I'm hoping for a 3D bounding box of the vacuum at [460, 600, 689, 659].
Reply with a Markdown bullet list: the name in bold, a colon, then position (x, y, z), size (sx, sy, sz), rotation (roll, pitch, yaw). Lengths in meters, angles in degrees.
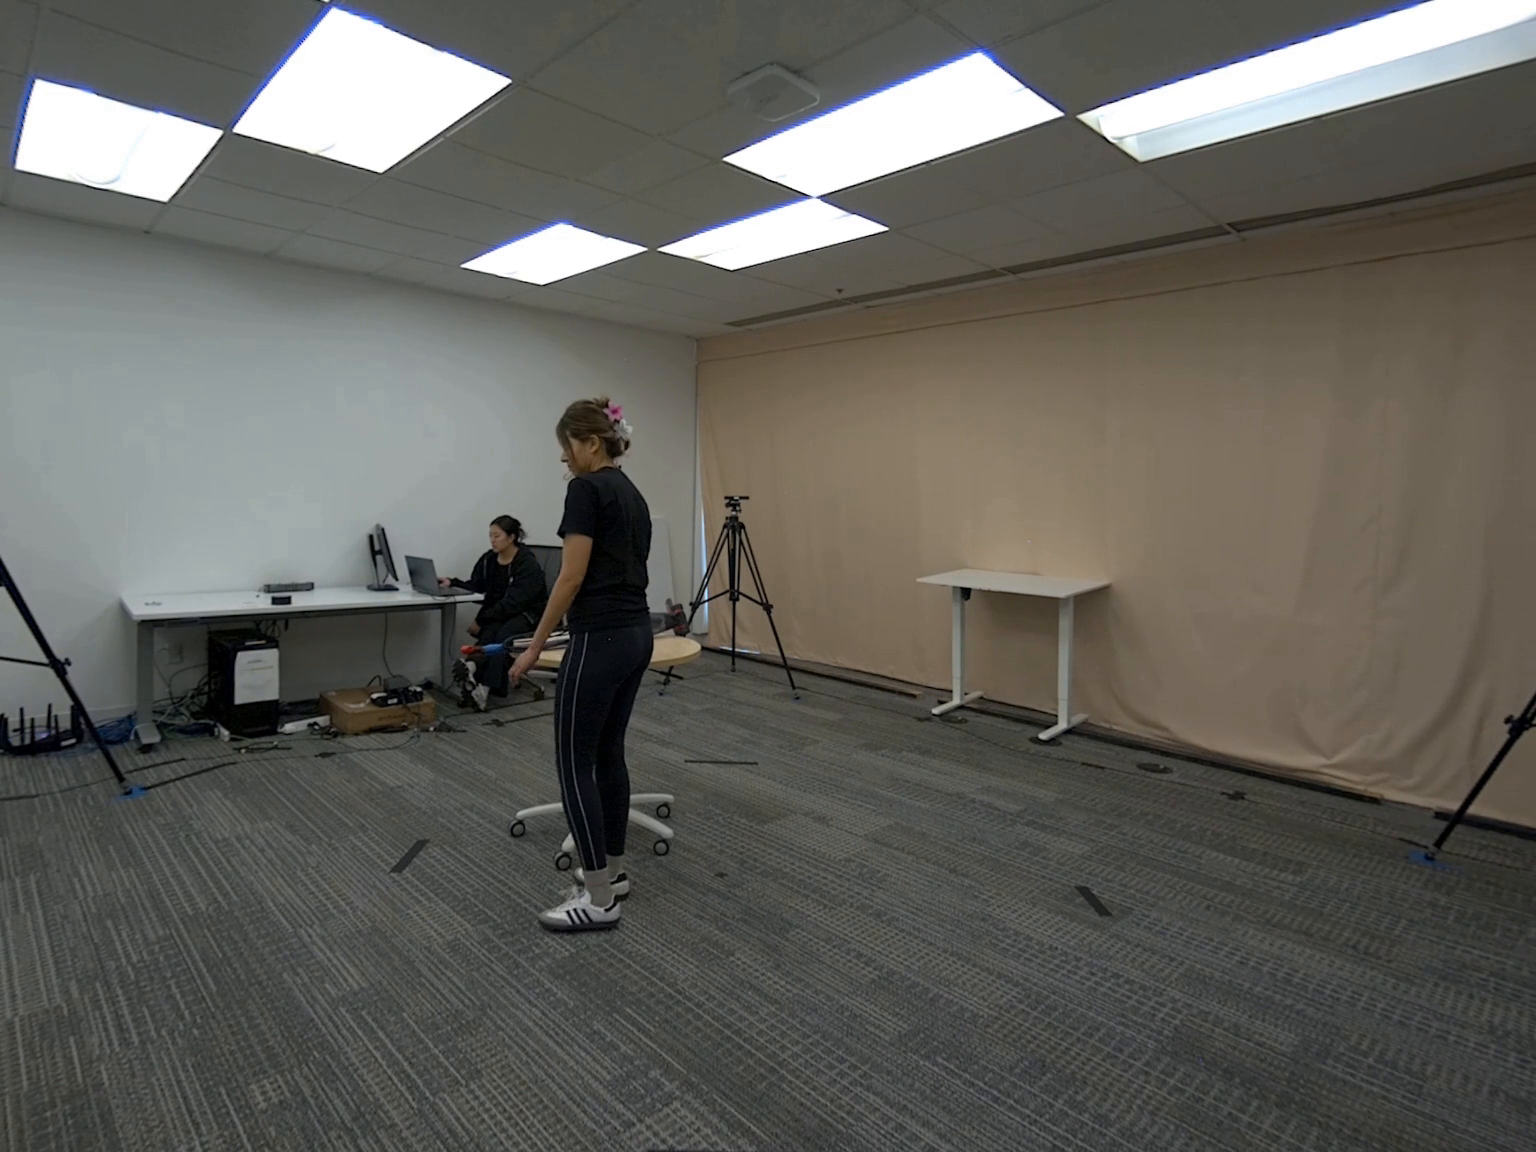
- **vacuum**: position (-0.736, 0.243, 3.402), size (1.026, 0.257, 0.145), rotation (-4, -23, -46)
